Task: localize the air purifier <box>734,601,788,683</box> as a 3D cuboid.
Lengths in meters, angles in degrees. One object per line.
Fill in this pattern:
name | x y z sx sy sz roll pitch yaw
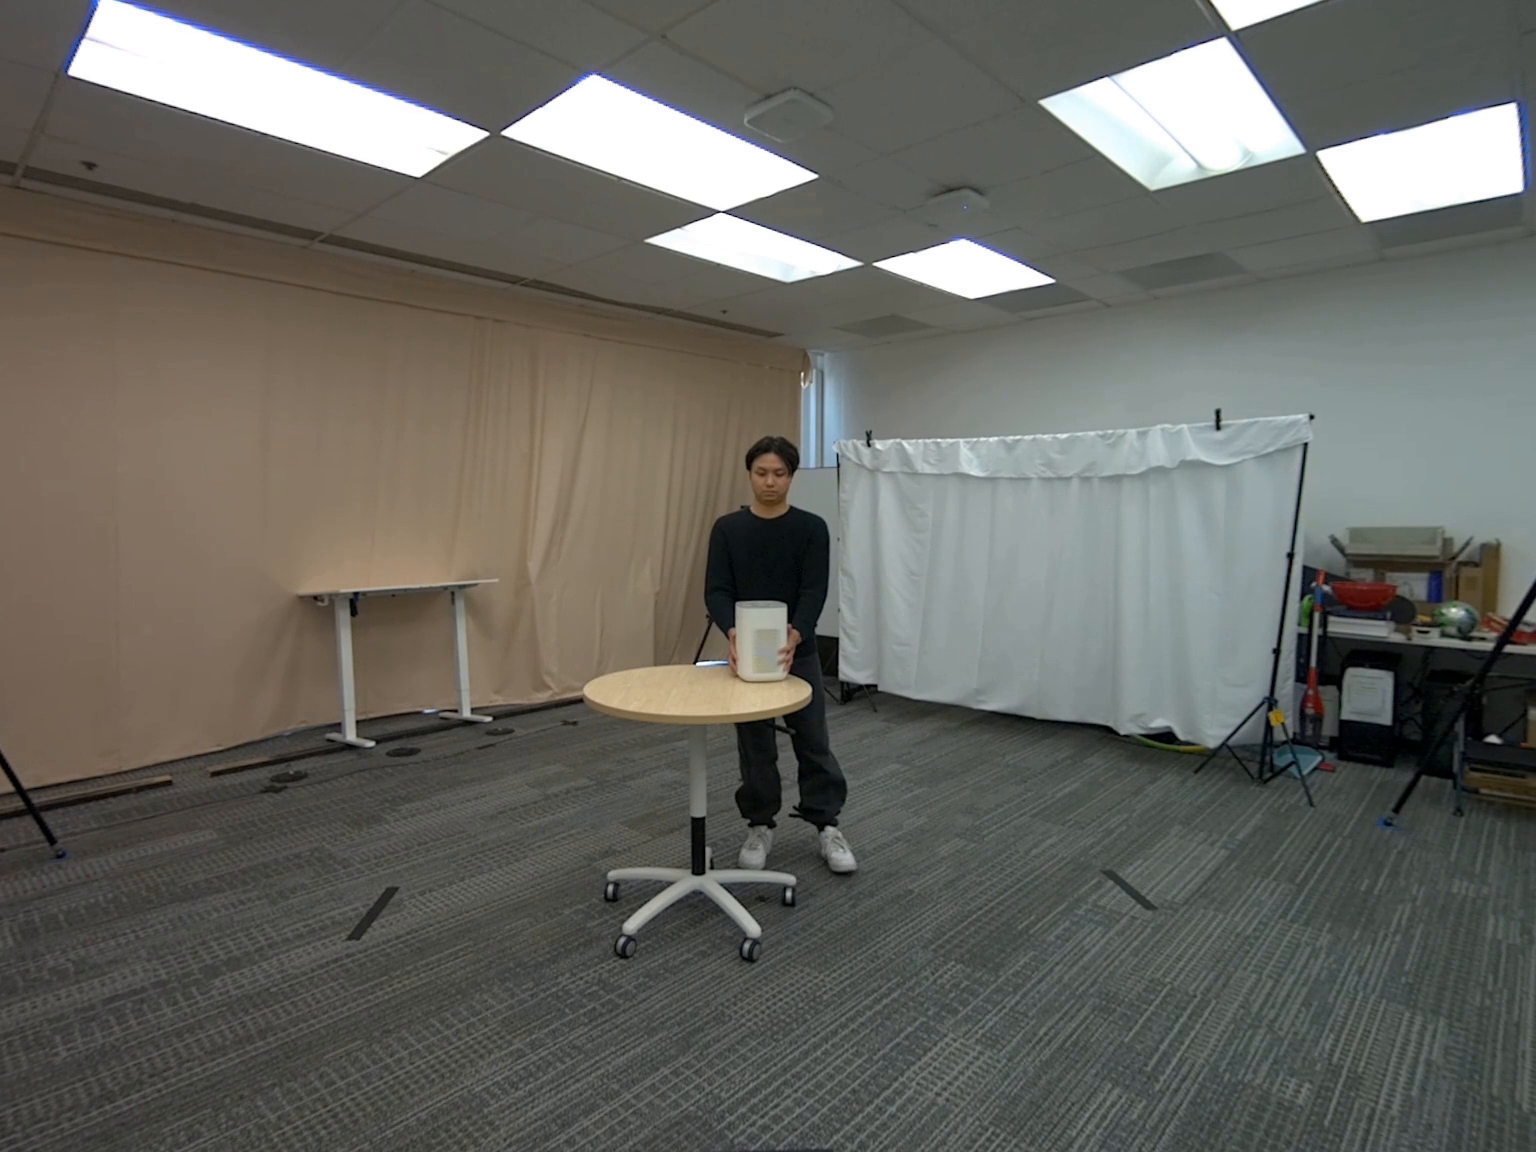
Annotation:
air purifier | -0.028 0.229 2.971 0.170 0.265 0.173 -1 3 -12
